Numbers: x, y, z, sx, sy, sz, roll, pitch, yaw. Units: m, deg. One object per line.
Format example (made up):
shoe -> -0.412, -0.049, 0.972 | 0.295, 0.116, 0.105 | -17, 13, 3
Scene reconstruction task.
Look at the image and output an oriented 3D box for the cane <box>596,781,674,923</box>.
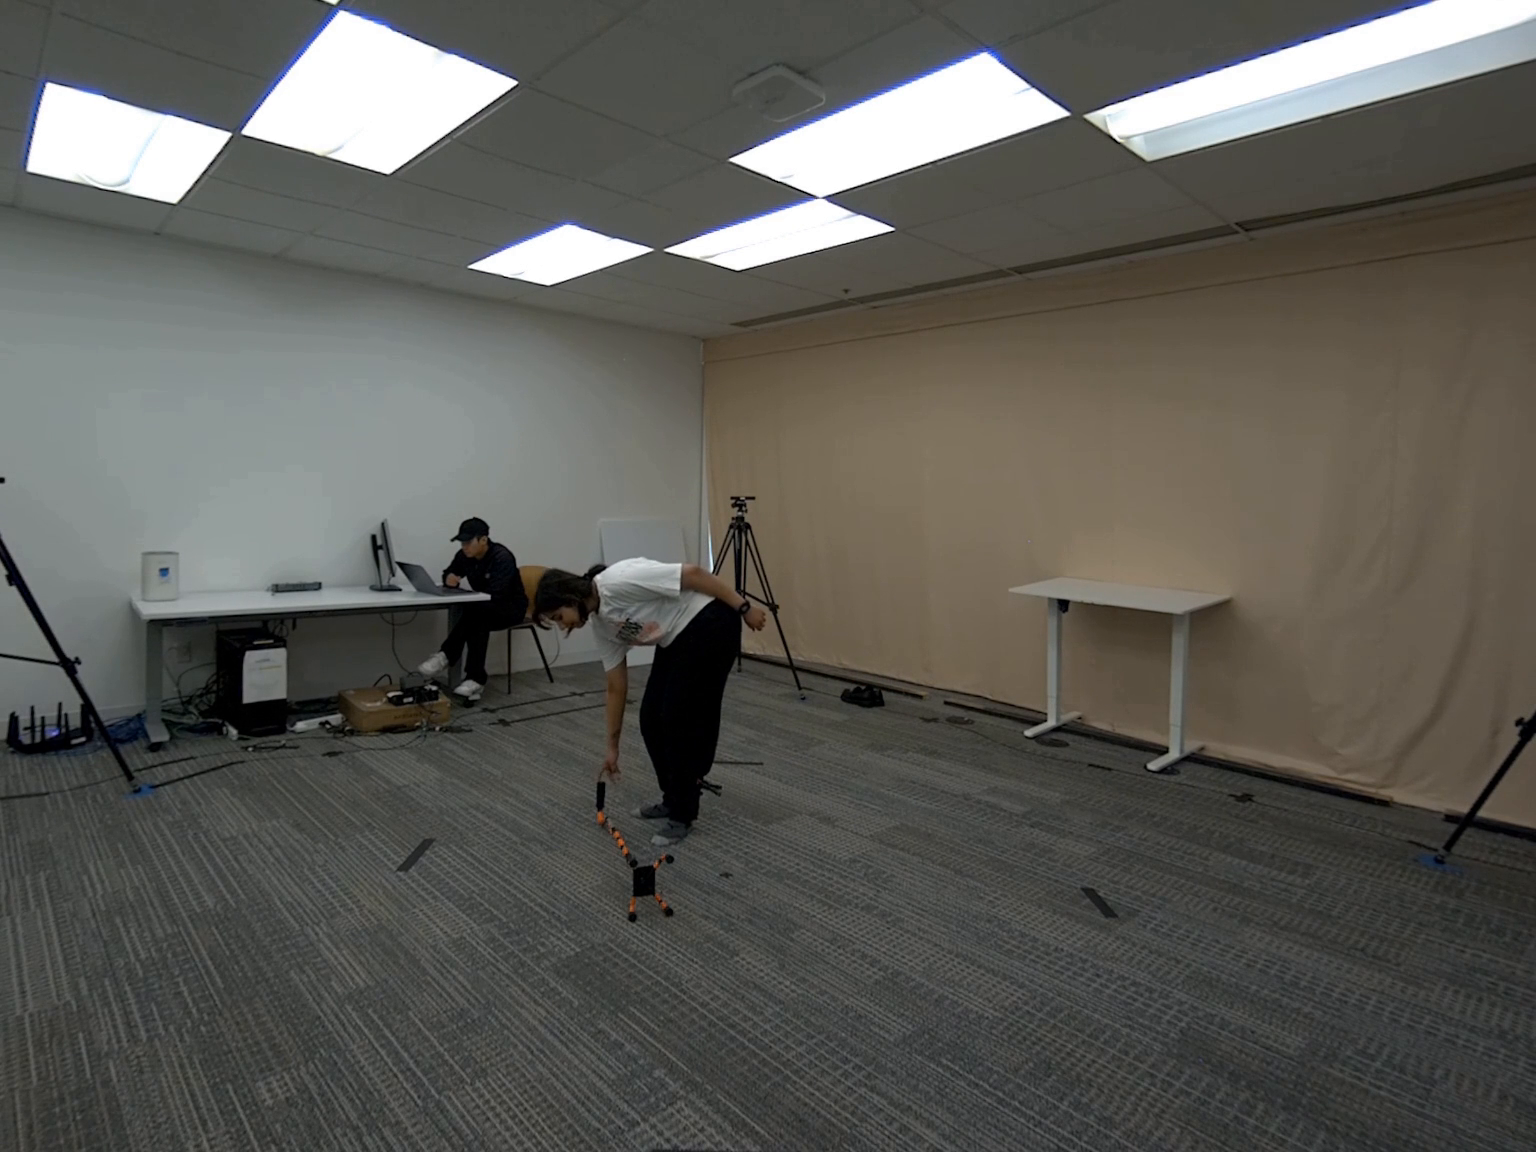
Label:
cane -> -0.552, 0.995, 3.185 | 0.149, 0.206, 0.923 | -3, 4, -21
